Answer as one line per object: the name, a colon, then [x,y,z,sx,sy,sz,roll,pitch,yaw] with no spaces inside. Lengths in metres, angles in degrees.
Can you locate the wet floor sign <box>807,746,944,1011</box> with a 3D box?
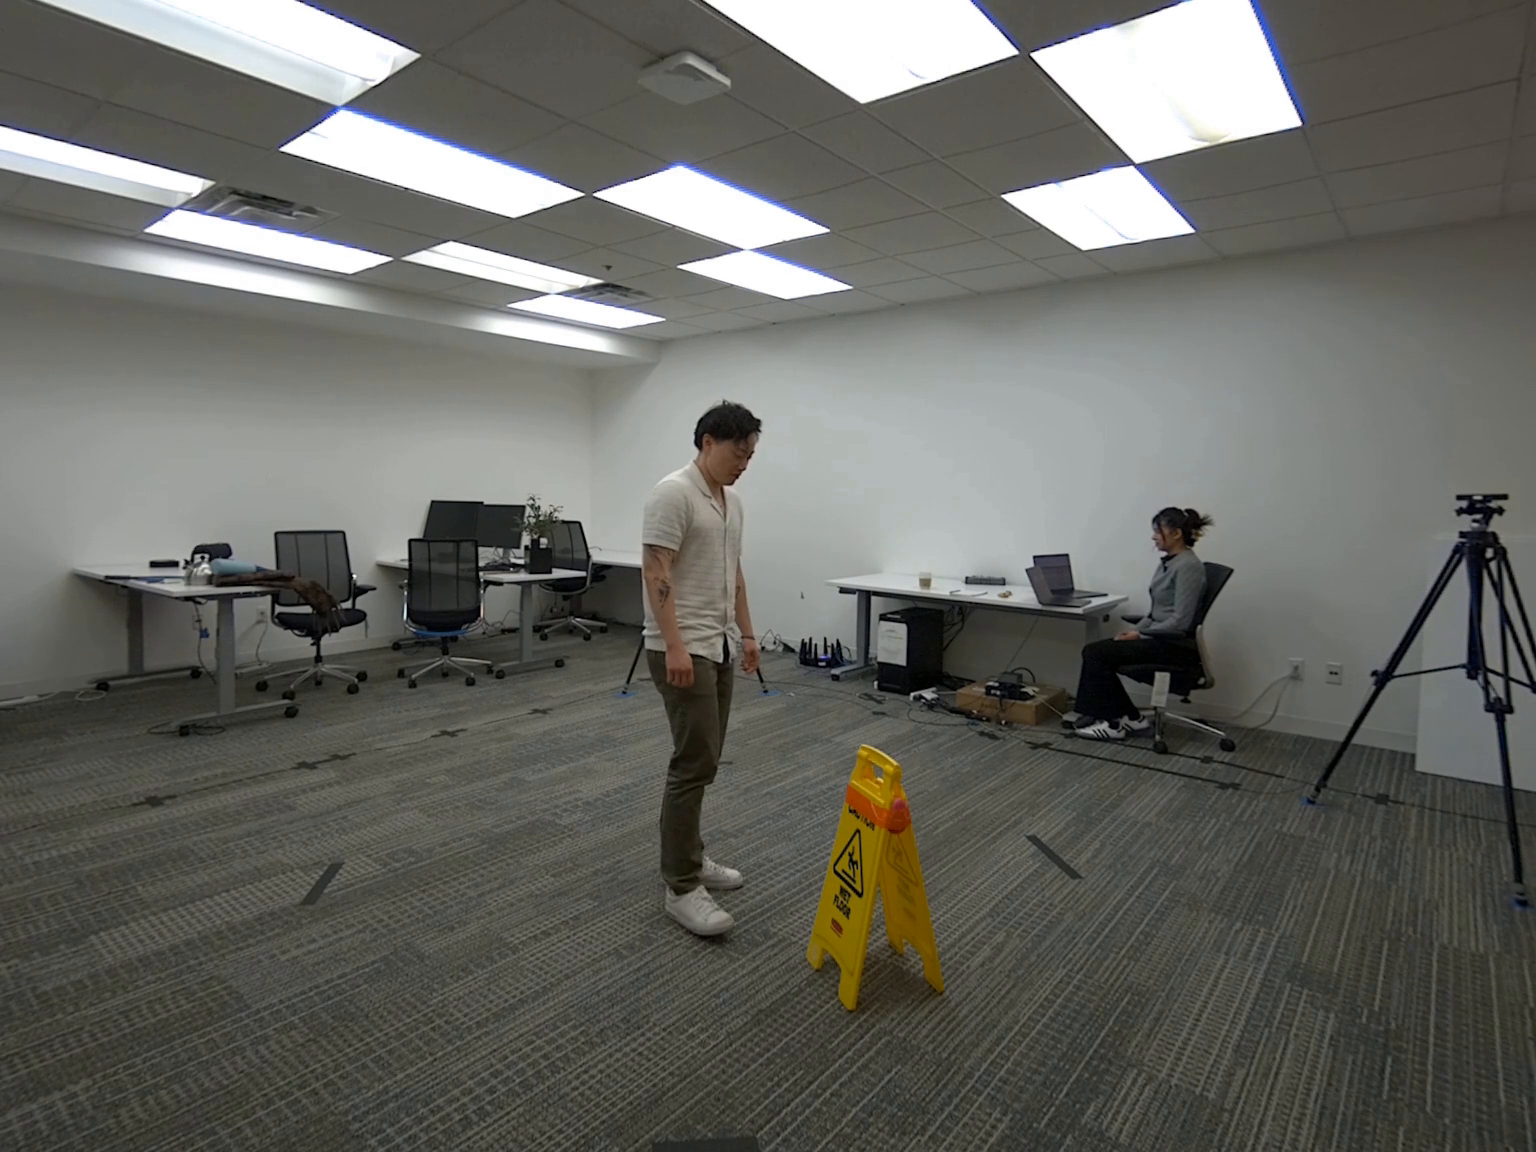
wet floor sign: [0.303,0.819,2.421,0.284,0.644,0.289,0,4,-22]
